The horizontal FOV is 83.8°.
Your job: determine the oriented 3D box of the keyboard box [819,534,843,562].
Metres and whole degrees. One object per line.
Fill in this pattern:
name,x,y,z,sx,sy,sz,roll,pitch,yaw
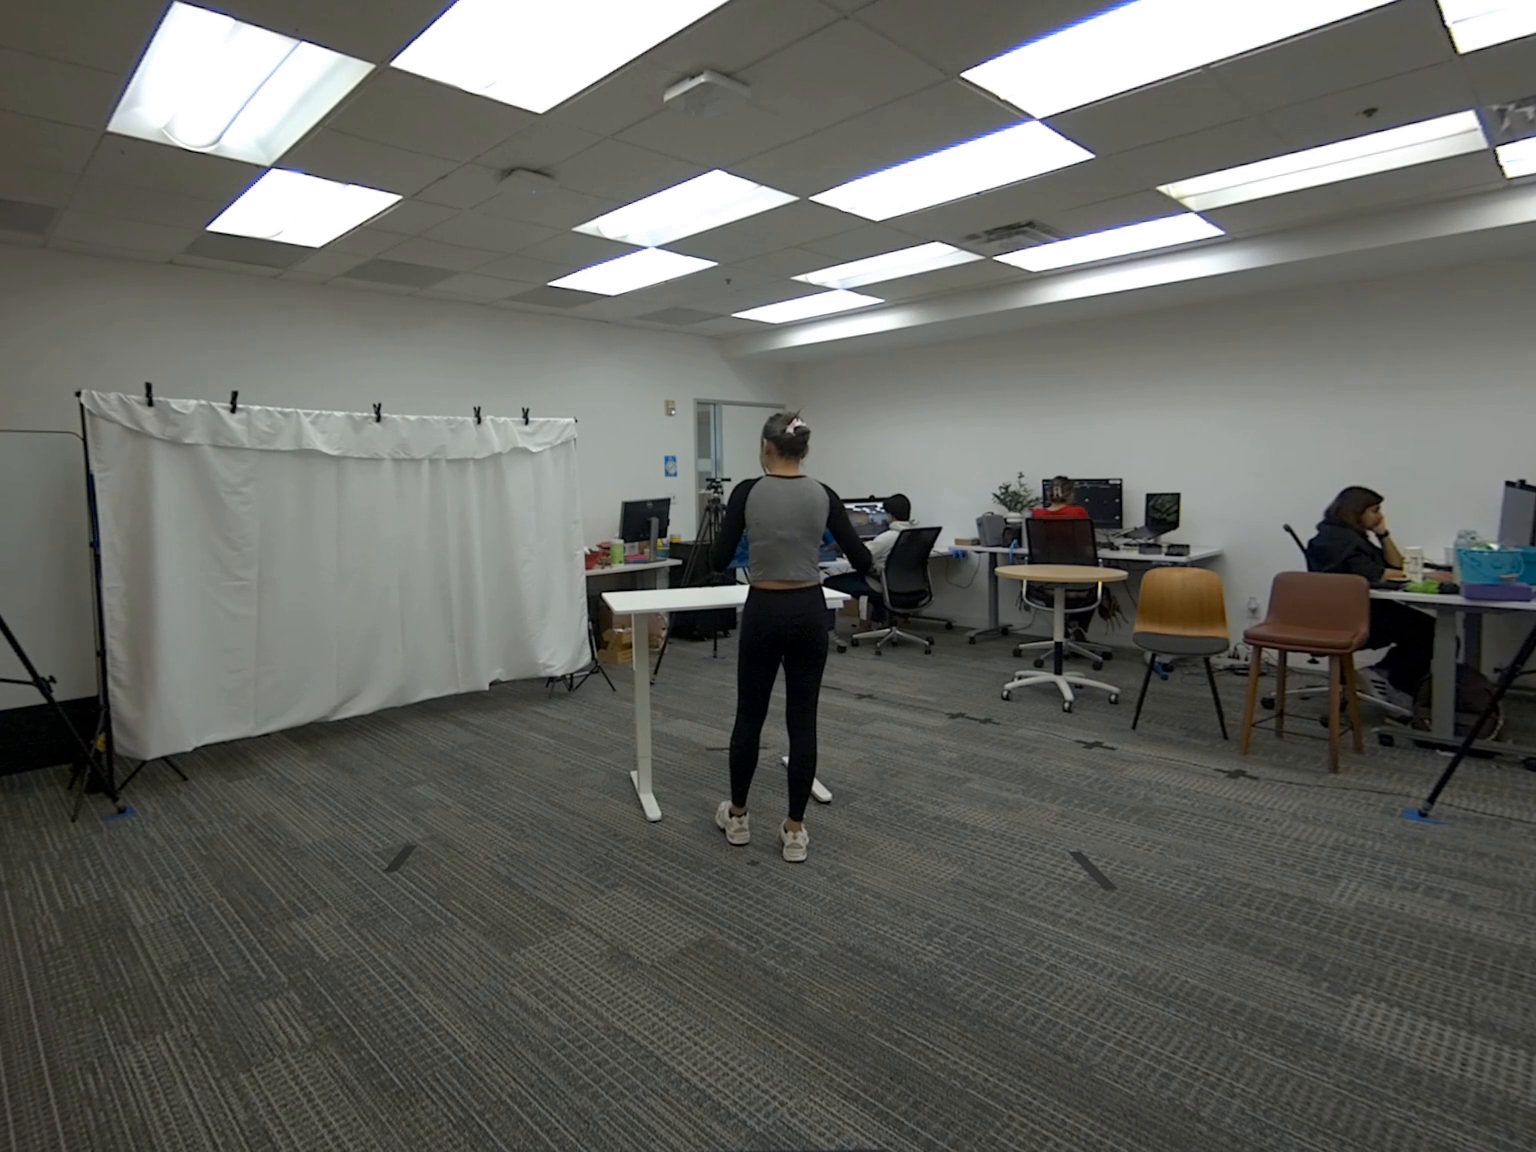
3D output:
keyboard box,0.068,-0.132,3.424,0.439,0.174,0.059,-5,11,5
